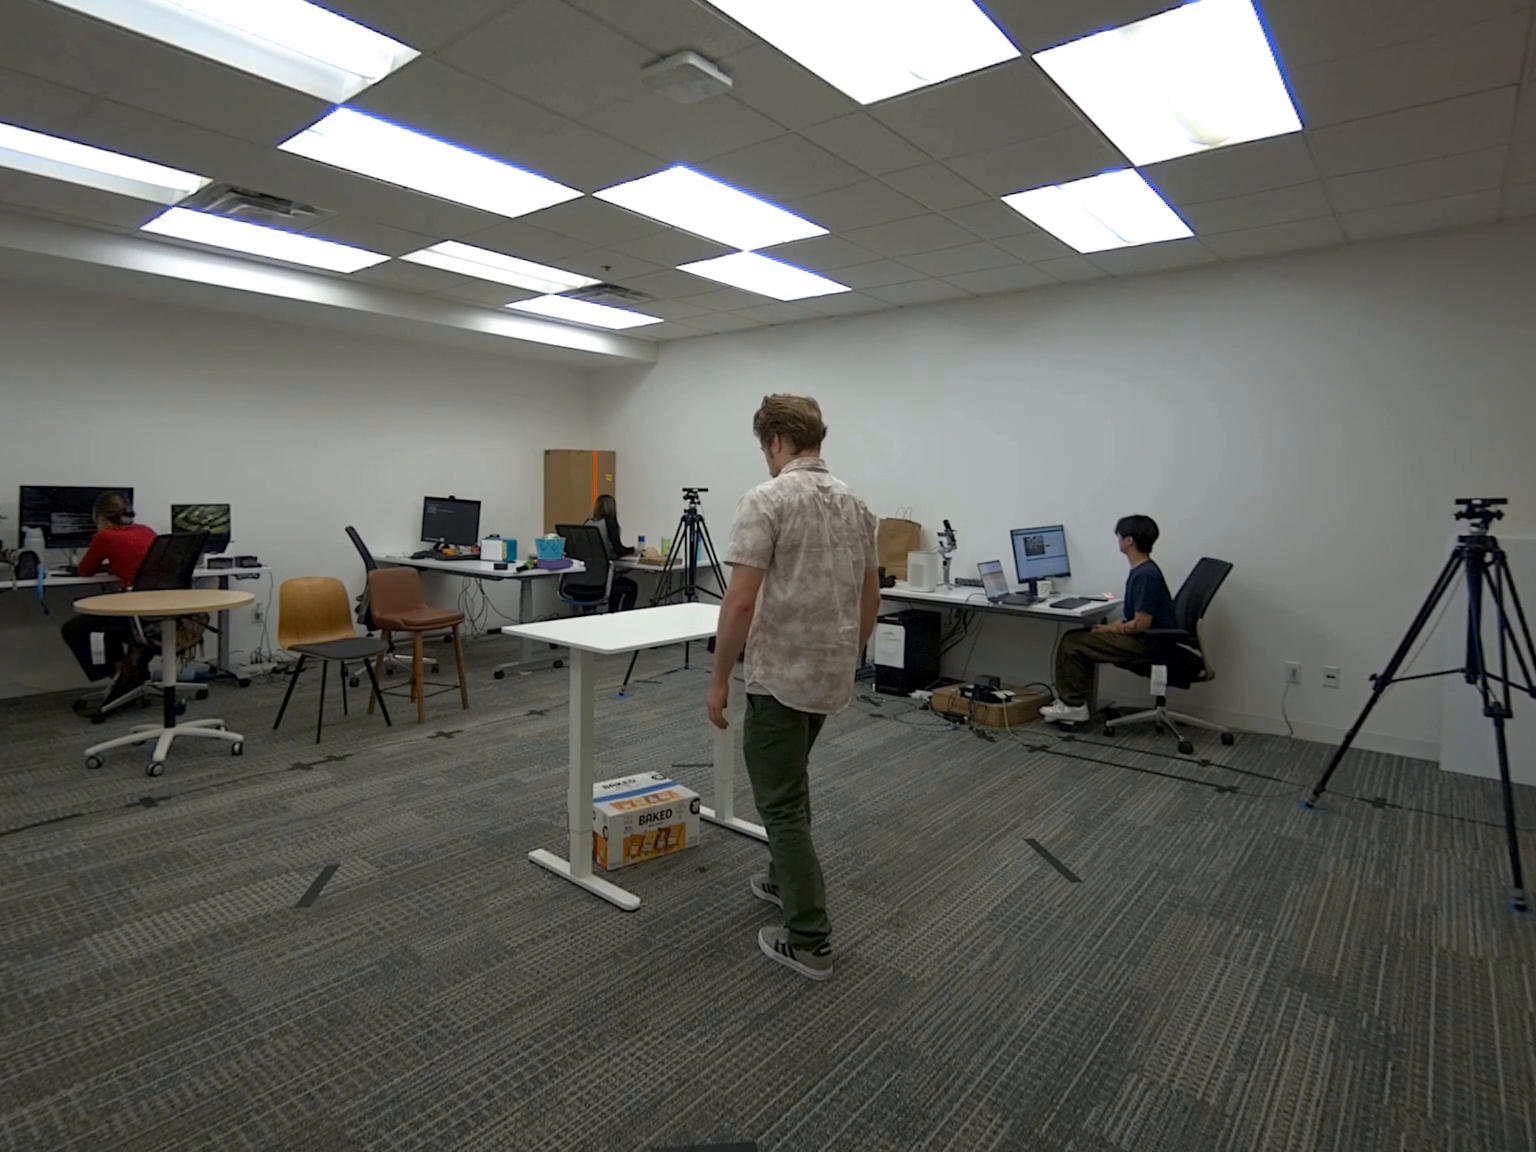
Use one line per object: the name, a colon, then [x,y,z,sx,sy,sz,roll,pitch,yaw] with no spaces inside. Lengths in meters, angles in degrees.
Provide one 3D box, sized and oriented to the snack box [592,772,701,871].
snack box: [-0.538,0.943,3.324,0.393,0.205,0.352,-3,6,-38]
